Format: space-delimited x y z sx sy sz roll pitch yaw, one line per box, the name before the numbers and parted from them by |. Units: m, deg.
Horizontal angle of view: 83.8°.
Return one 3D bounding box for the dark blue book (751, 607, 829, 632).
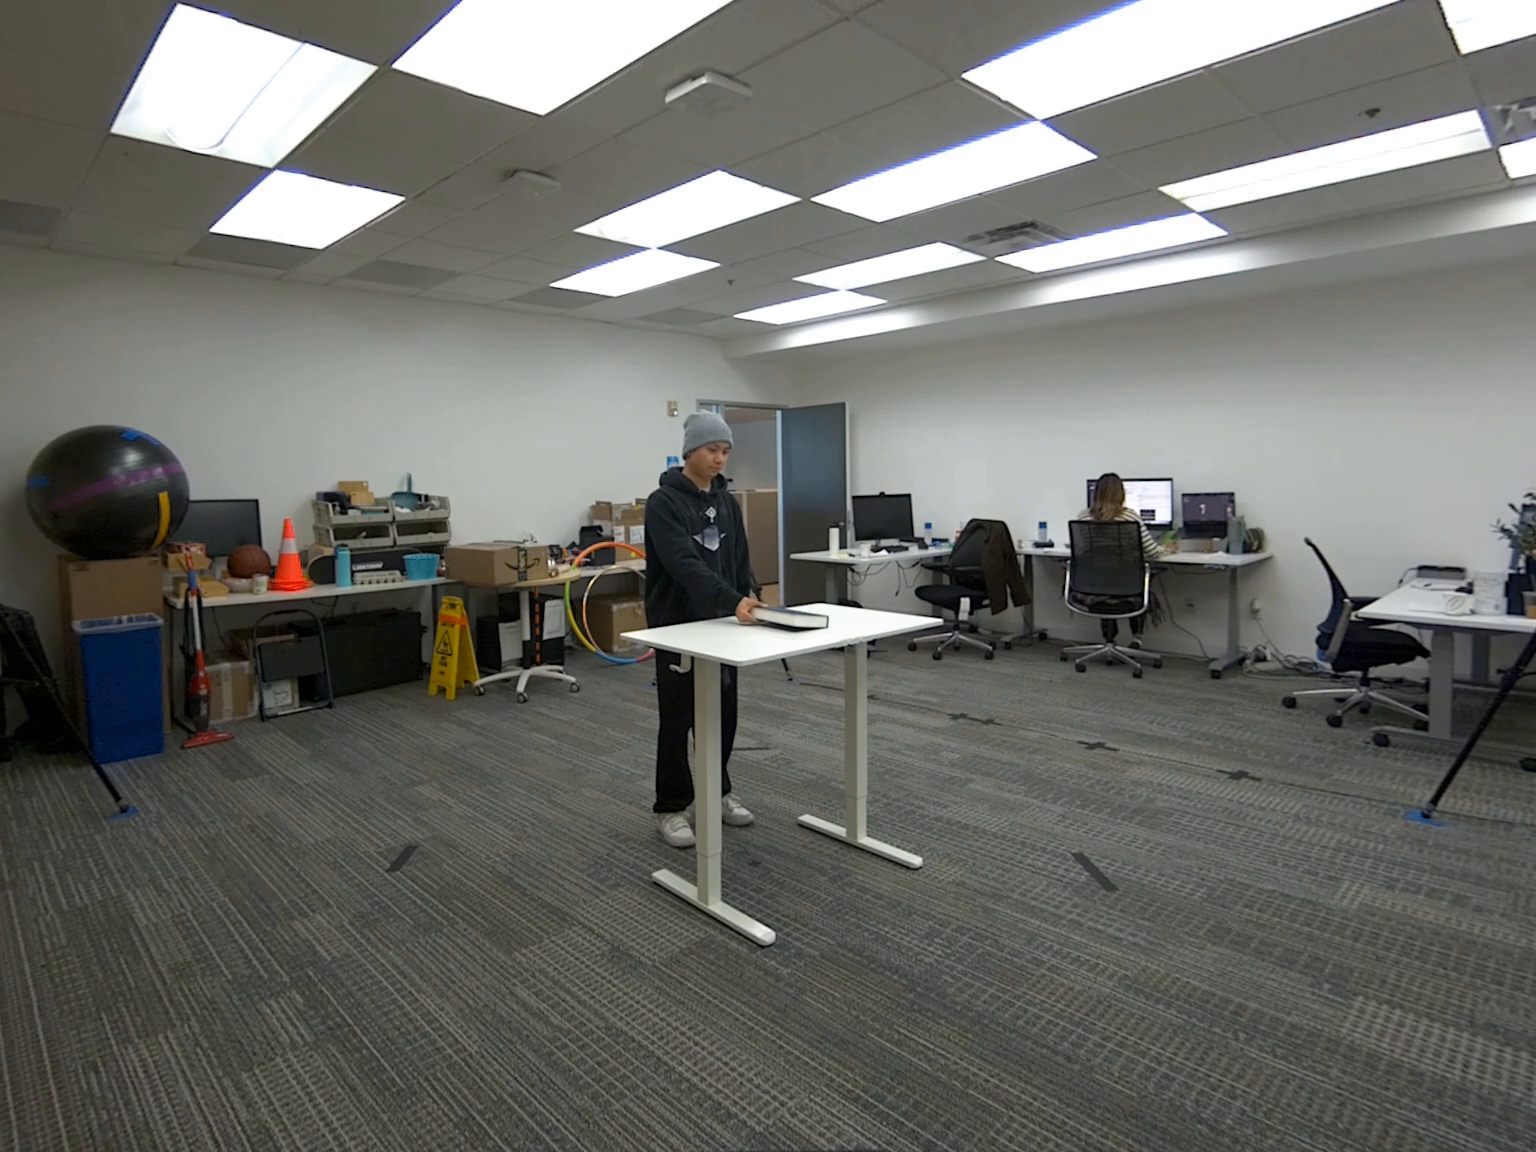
dark blue book | 0.076 0.143 2.981 0.158 0.045 0.253 5 2 -39
